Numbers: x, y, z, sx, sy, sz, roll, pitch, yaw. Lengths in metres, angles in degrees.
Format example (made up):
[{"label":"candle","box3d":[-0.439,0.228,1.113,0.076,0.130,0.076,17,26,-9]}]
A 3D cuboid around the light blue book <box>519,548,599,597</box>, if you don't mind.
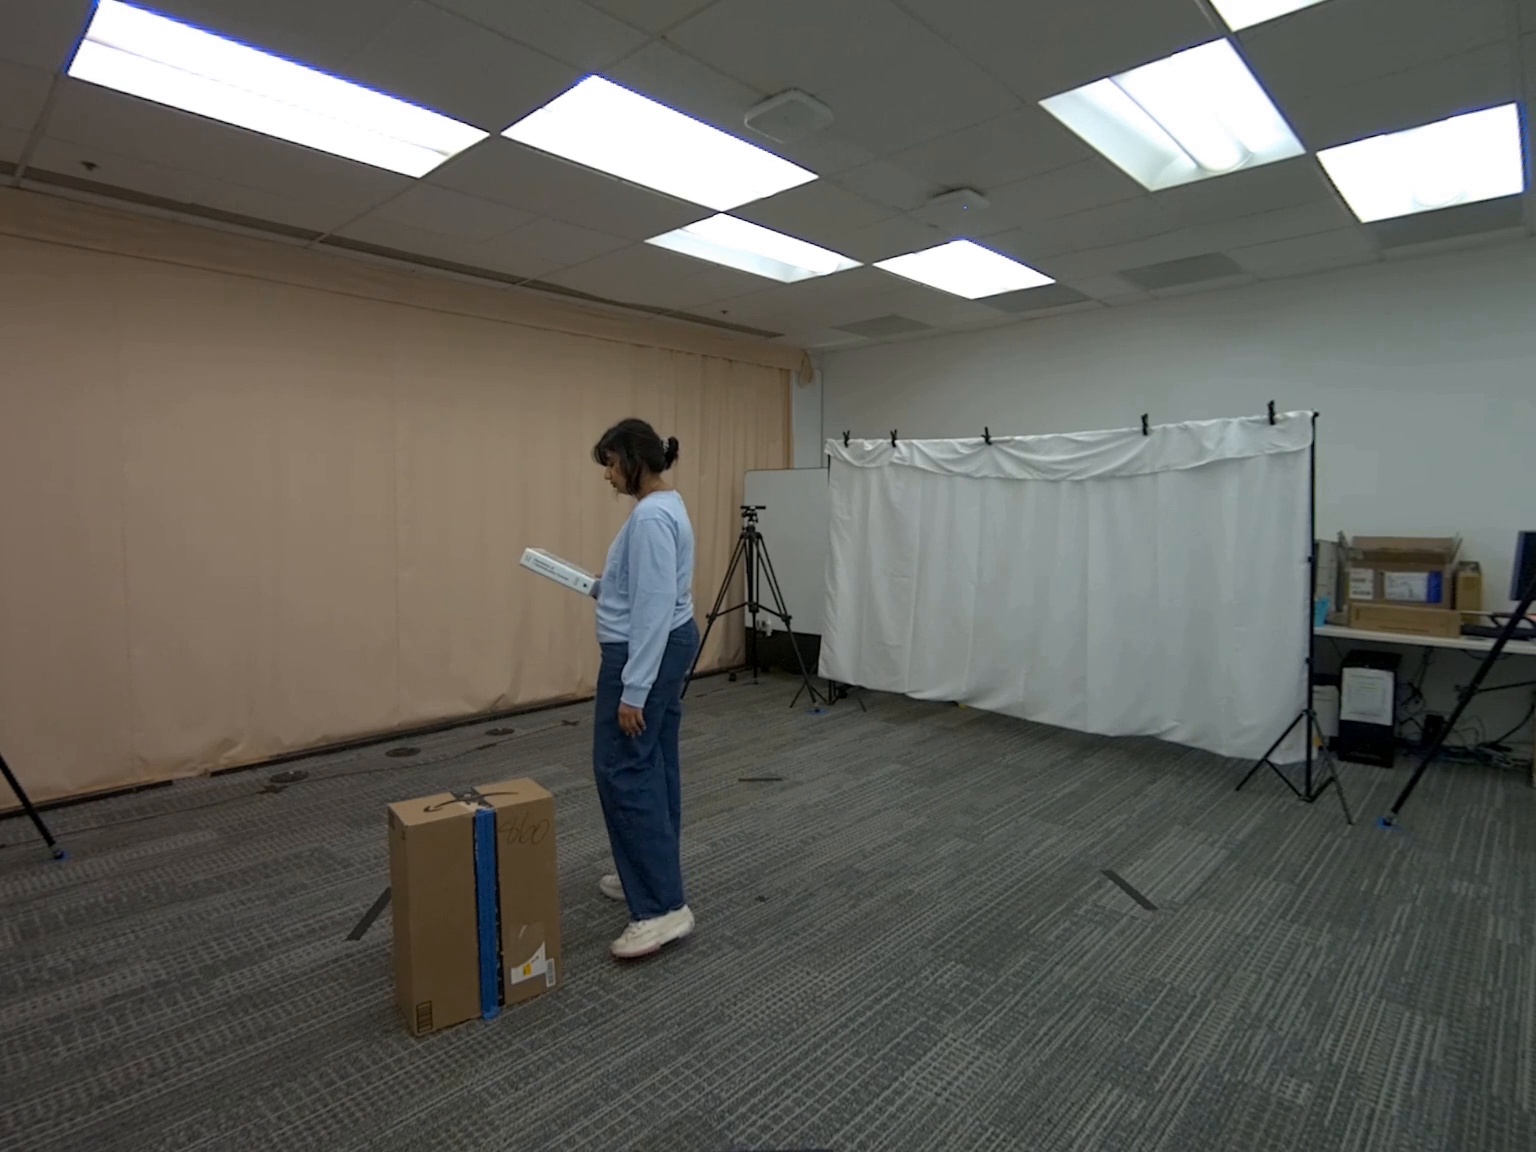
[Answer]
[{"label":"light blue book","box3d":[-0.712,-0.013,2.917,0.262,0.059,0.191,25,1,2]}]
